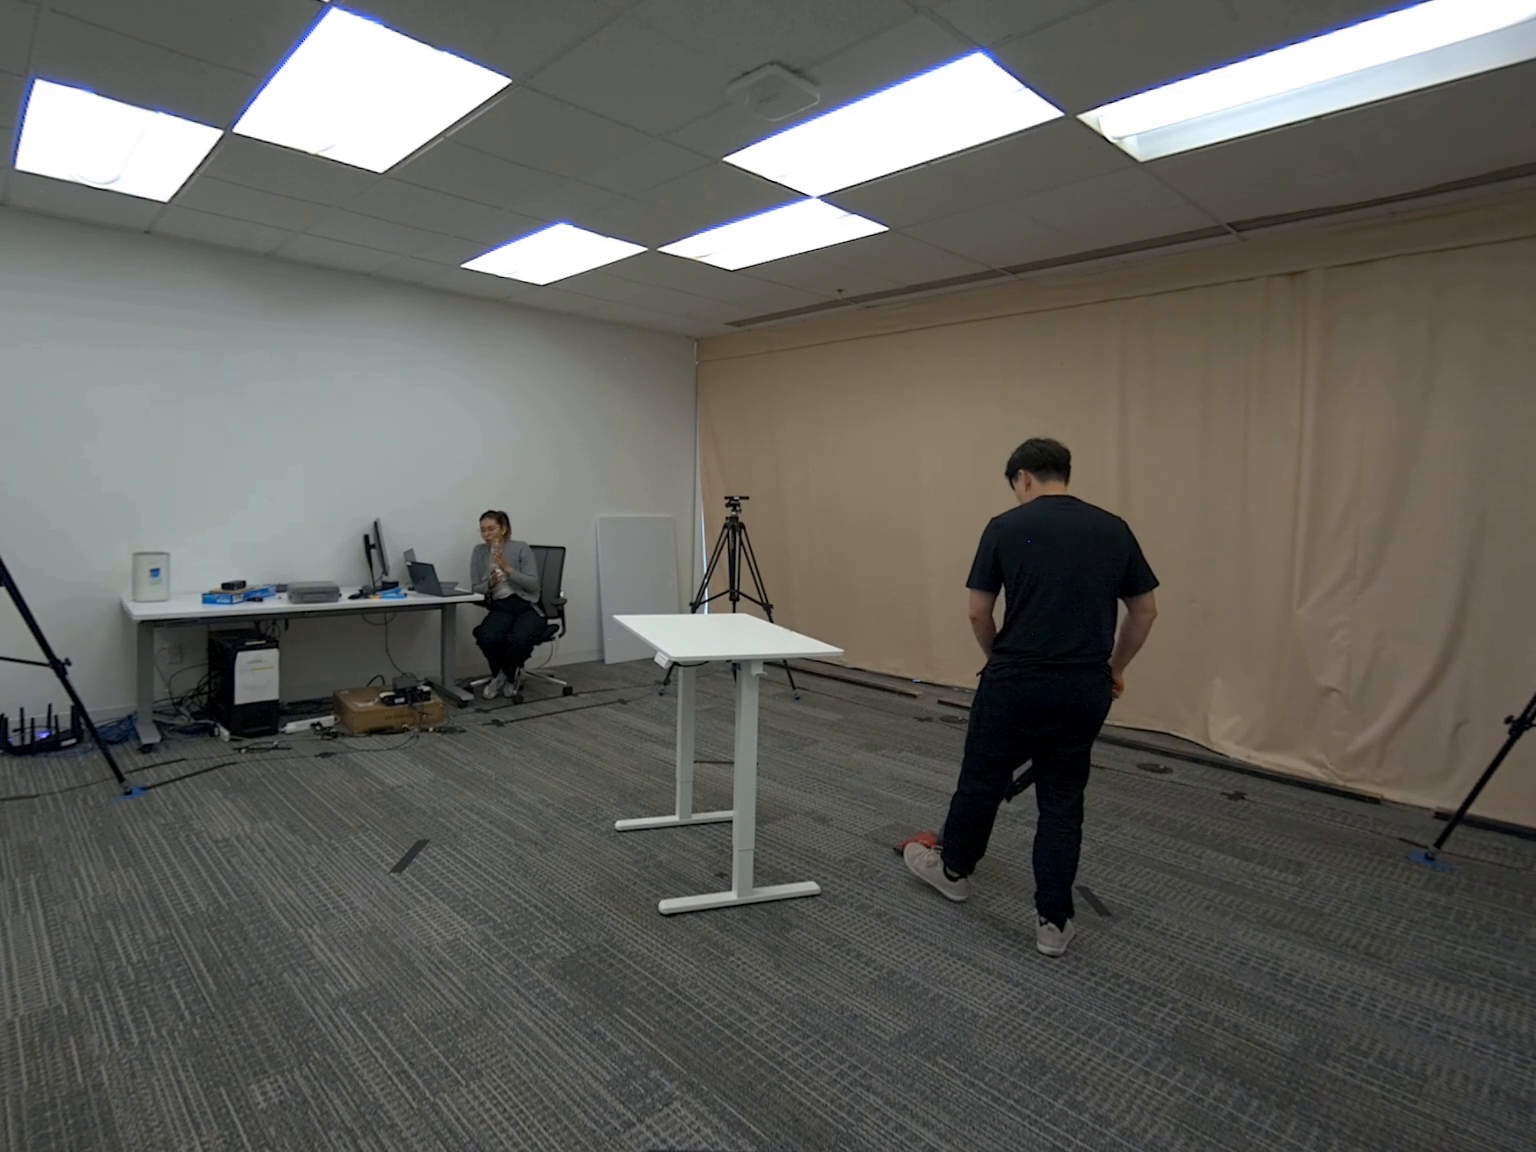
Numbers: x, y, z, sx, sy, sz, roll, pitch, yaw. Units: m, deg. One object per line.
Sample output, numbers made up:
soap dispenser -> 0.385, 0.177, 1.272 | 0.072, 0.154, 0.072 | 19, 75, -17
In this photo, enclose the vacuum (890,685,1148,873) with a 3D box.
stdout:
vacuum -> 0.882, 0.747, 3.100 | 0.247, 0.148, 1.047 | -2, -39, -45
